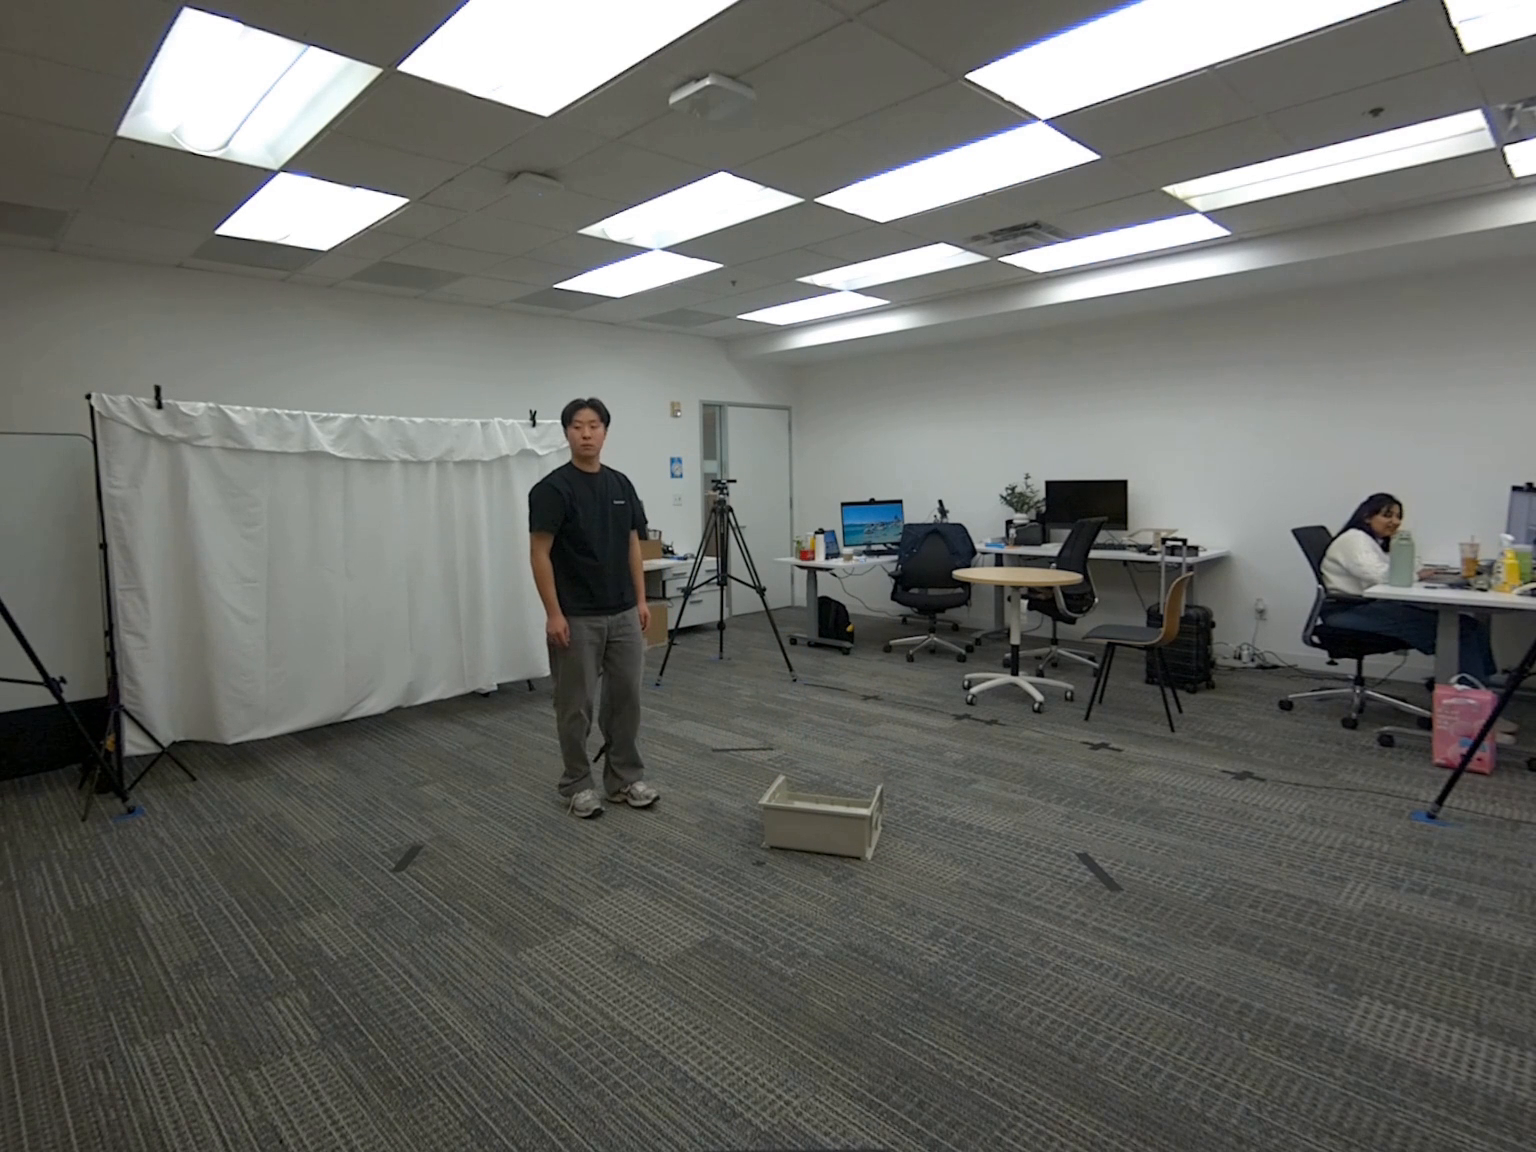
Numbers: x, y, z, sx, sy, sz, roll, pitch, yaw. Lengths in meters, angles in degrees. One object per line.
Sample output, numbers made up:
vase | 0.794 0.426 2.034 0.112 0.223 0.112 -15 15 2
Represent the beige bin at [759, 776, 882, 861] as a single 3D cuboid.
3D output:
beige bin | 0.217 0.927 3.341 0.430 0.188 0.373 1 8 17
